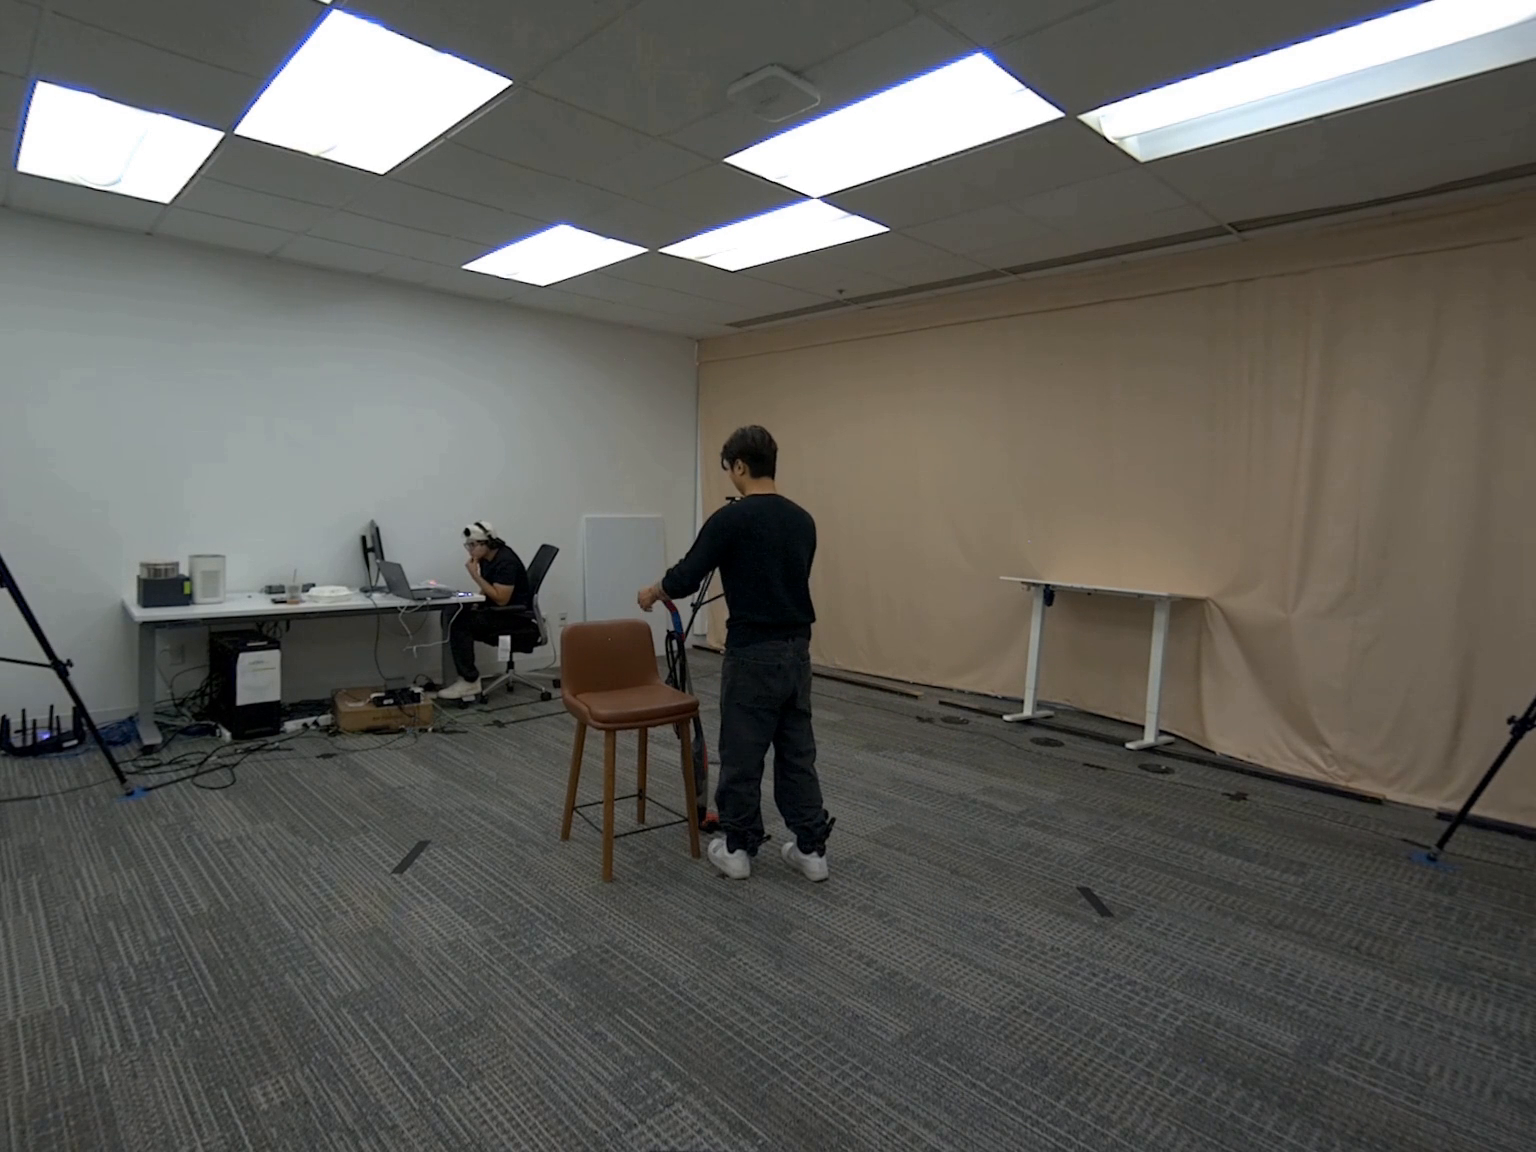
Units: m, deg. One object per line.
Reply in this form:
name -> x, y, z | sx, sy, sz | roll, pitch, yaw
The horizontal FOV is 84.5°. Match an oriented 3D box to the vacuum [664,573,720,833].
vacuum -> -0.356, 0.555, 3.474 | 0.142, 1.039, 0.259 | -19, 16, -40
